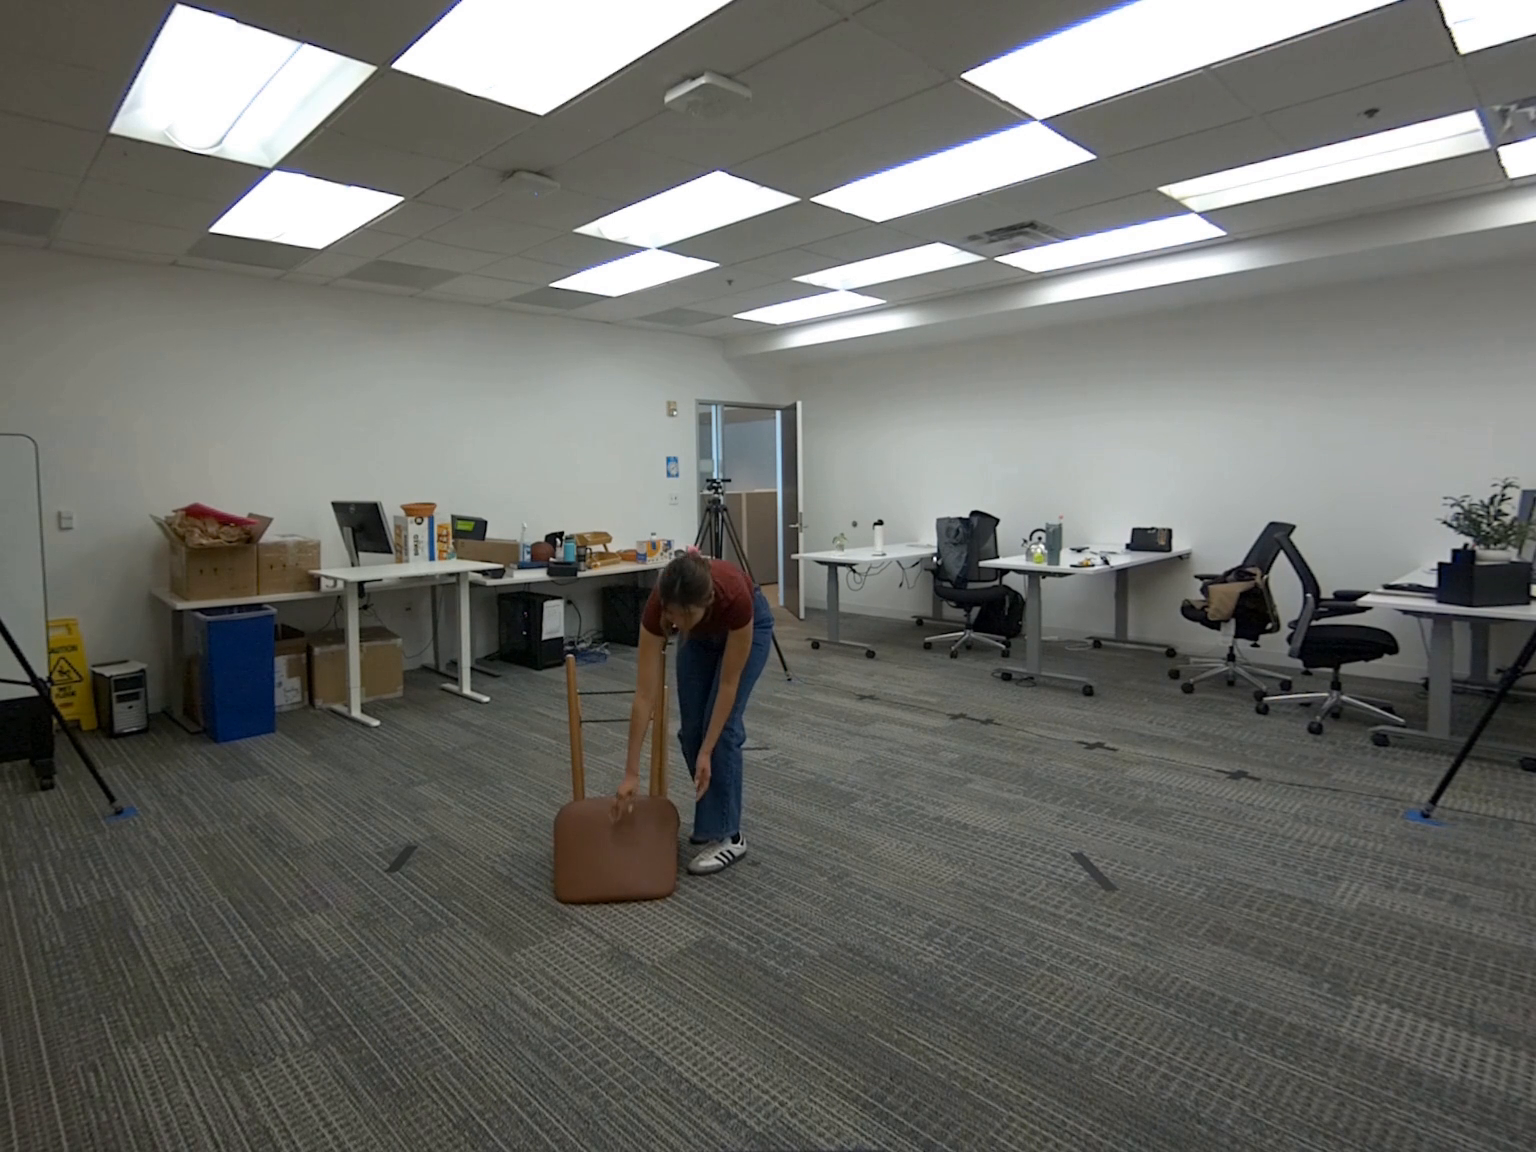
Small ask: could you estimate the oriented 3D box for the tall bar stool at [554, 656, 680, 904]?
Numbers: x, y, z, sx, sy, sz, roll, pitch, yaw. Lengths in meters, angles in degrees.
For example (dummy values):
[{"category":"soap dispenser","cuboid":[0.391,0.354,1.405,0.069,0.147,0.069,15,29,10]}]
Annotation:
[{"category":"tall bar stool","cuboid":[-0.566,0.783,3.240,0.454,0.913,0.458,-2,-30,-7]}]
